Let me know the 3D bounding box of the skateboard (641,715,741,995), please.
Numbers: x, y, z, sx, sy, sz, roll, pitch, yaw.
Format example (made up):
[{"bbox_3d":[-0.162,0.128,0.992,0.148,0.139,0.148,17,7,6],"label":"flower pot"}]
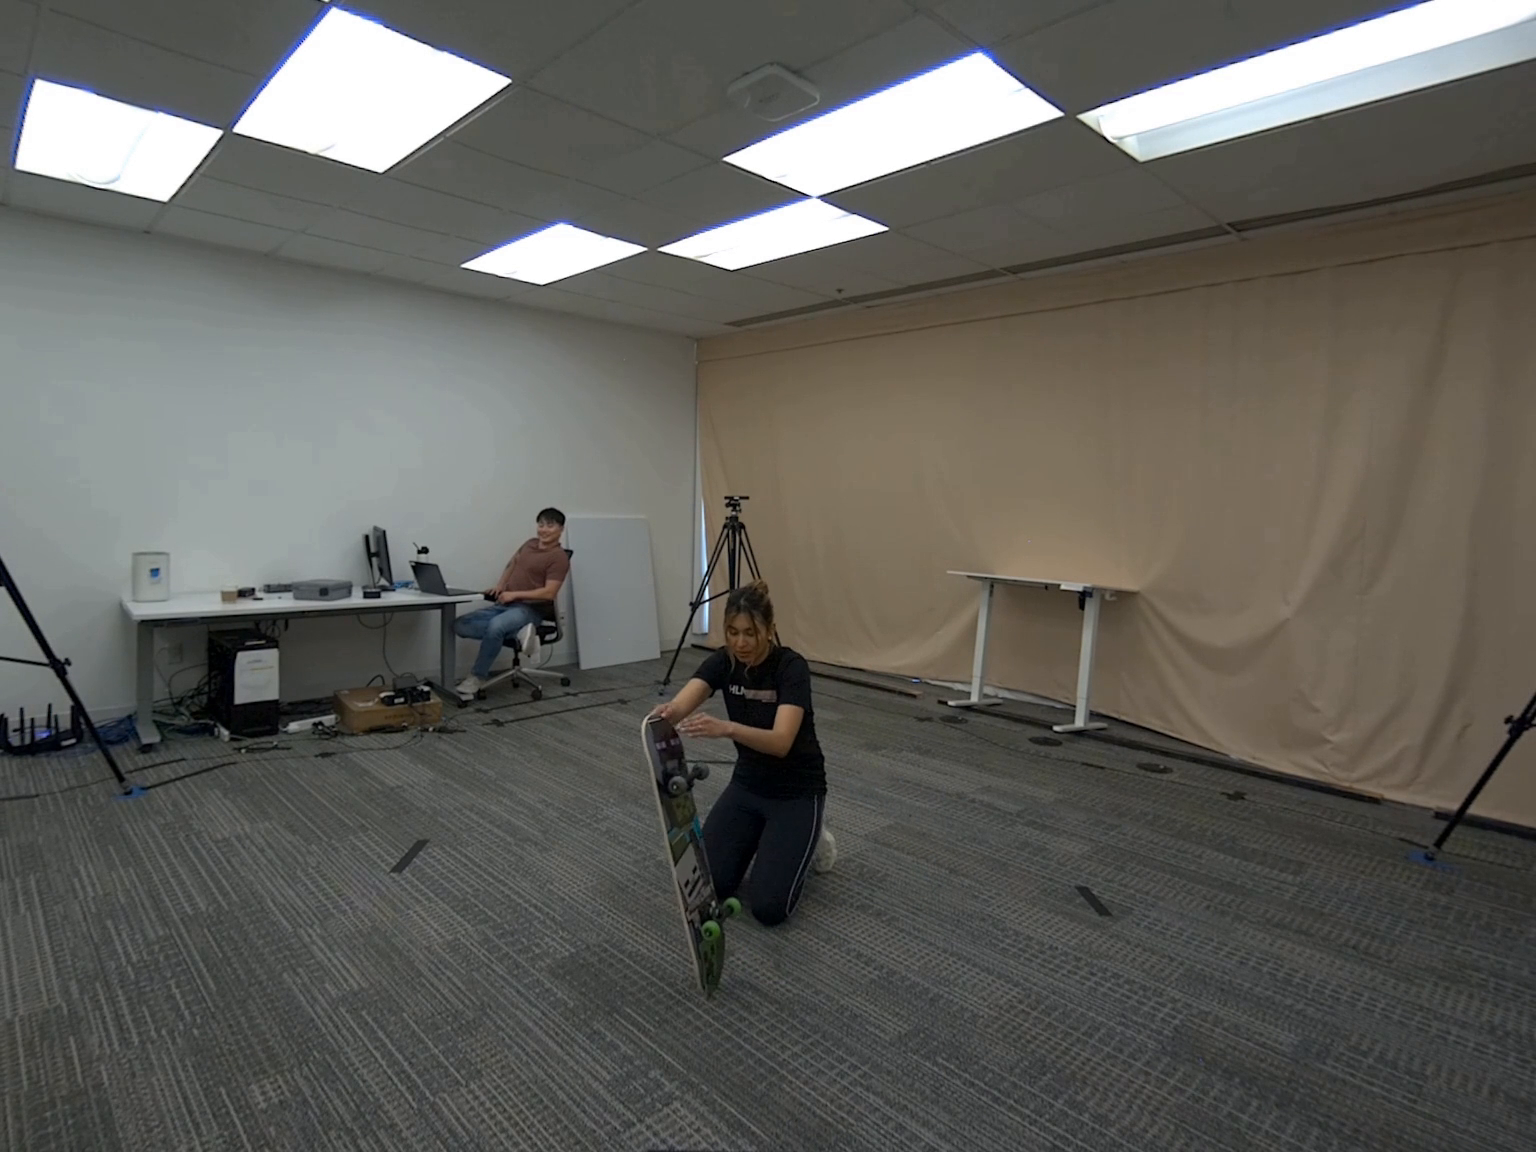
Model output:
[{"bbox_3d":[-0.210,0.781,2.374,0.112,0.788,0.190,-15,-4,23],"label":"skateboard"}]
